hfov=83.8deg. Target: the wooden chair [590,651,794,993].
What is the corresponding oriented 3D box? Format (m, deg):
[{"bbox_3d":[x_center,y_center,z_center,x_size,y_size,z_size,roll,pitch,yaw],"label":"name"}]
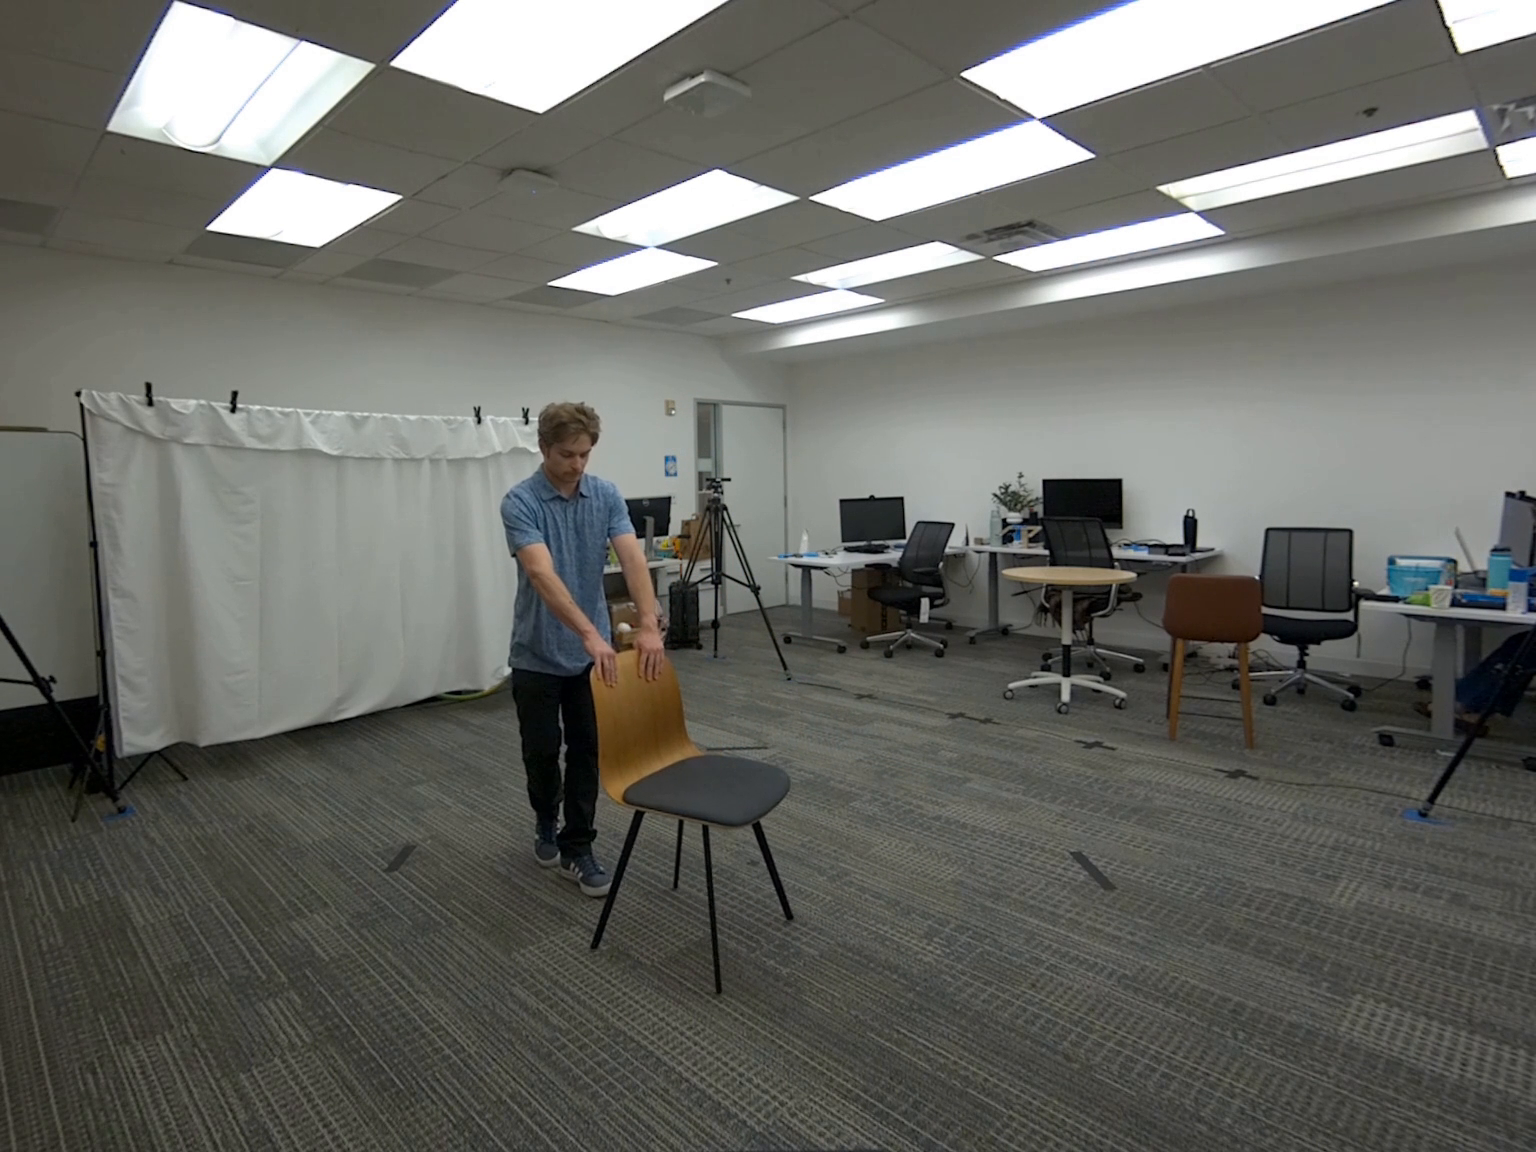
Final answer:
[{"bbox_3d":[-0.222,0.676,2.592,0.536,0.876,0.467,-3,2,30],"label":"wooden chair"}]
